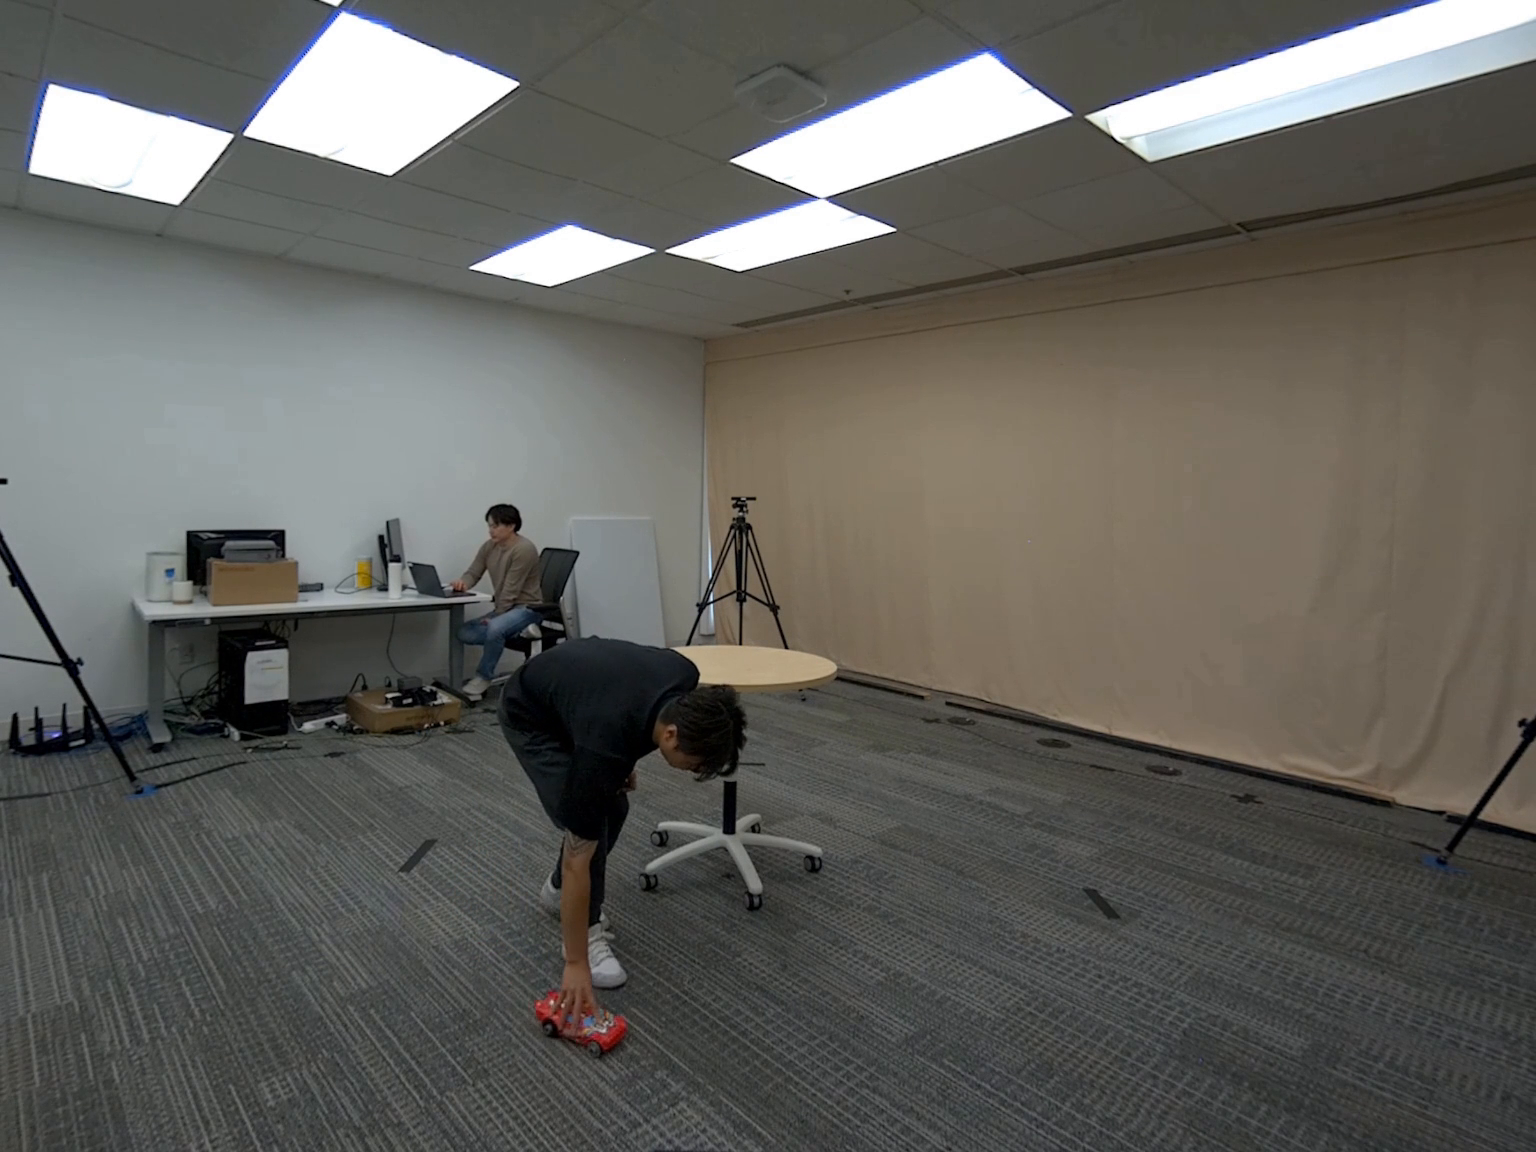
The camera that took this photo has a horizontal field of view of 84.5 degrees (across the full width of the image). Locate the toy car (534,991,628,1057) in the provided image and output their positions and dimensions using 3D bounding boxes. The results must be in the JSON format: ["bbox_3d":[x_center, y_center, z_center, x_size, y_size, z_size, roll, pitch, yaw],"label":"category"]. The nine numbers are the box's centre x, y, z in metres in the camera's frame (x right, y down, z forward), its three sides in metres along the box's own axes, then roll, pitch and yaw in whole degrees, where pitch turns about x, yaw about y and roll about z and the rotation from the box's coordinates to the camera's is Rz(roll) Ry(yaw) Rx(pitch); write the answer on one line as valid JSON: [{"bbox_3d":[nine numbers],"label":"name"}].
[{"bbox_3d":[-0.494,1.156,2.176,0.260,0.083,0.128,17,12,27],"label":"toy car"}]
